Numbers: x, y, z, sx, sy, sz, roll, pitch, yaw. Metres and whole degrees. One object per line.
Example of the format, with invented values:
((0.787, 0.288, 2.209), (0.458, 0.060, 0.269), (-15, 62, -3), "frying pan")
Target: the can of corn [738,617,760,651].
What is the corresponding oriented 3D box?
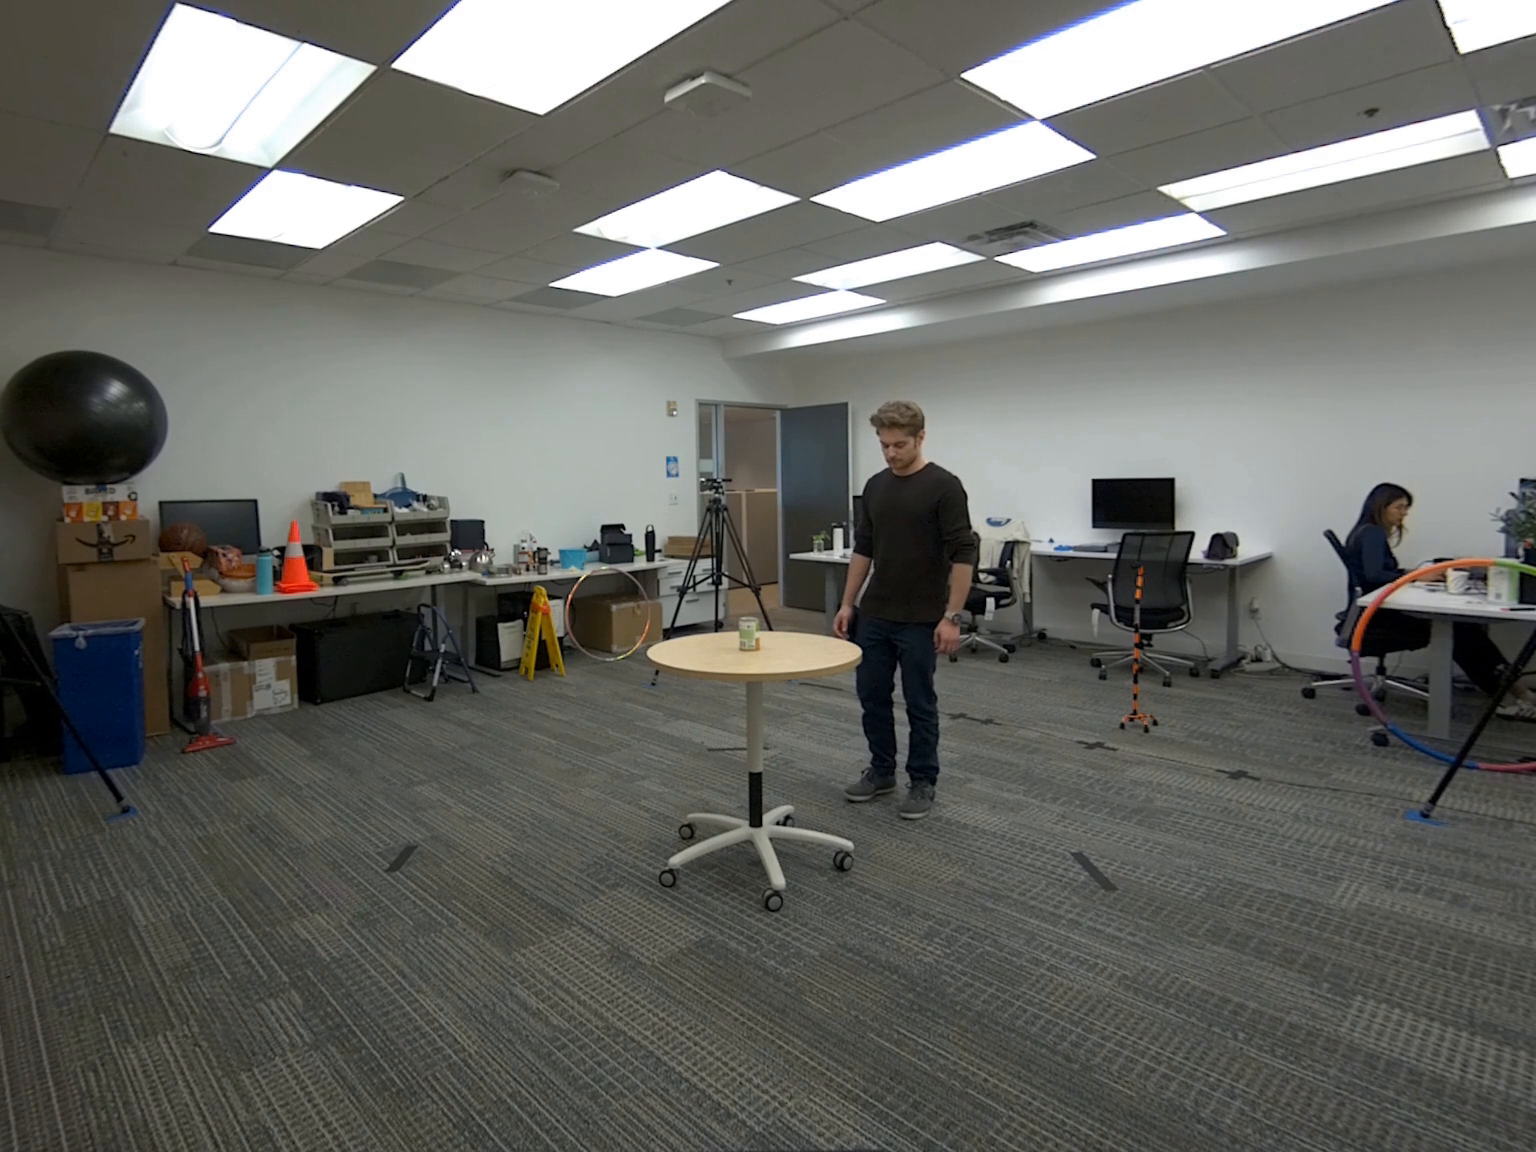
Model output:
((-0.066, 0.208, 3.061), (0.074, 0.111, 0.074), (0, 2, -2), "can of corn")
